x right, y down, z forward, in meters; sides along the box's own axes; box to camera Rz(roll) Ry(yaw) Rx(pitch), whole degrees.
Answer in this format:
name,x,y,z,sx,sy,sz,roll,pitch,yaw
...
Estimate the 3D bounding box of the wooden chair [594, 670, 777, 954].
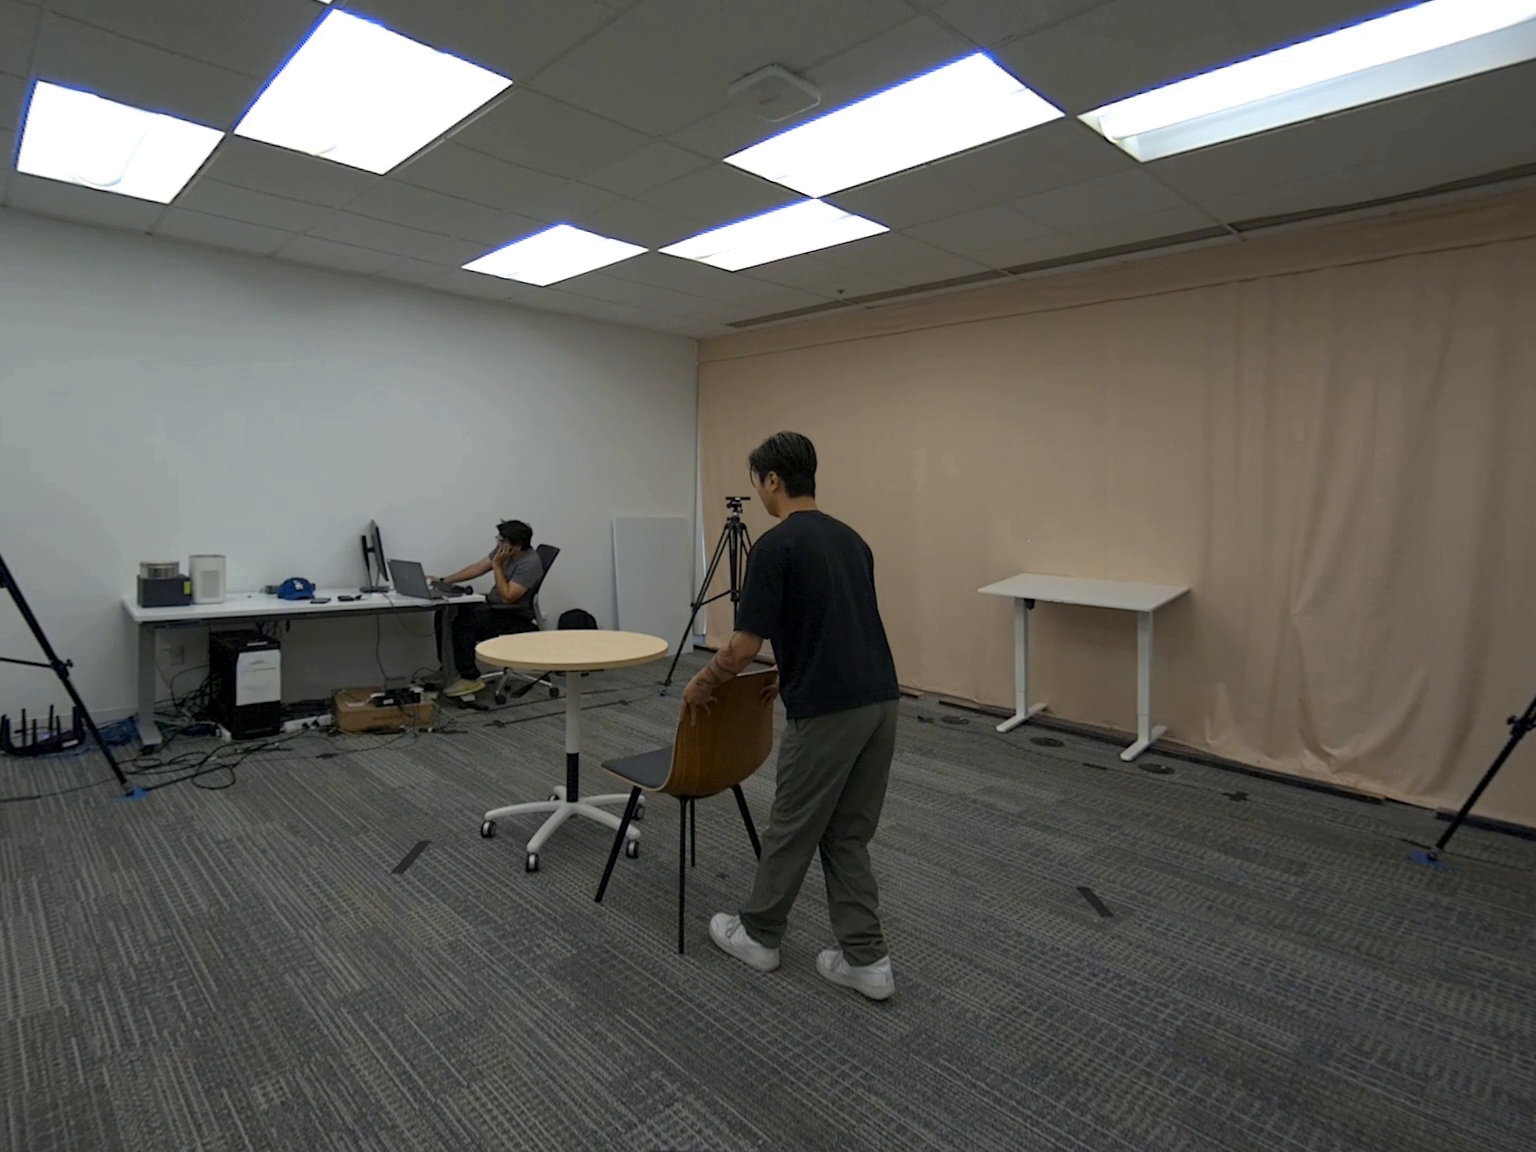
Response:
name,x,y,z,sx,sy,sz,roll,pitch,yaw
wooden chair,-0.276,0.698,2.853,0.467,0.873,0.538,-2,10,-44
